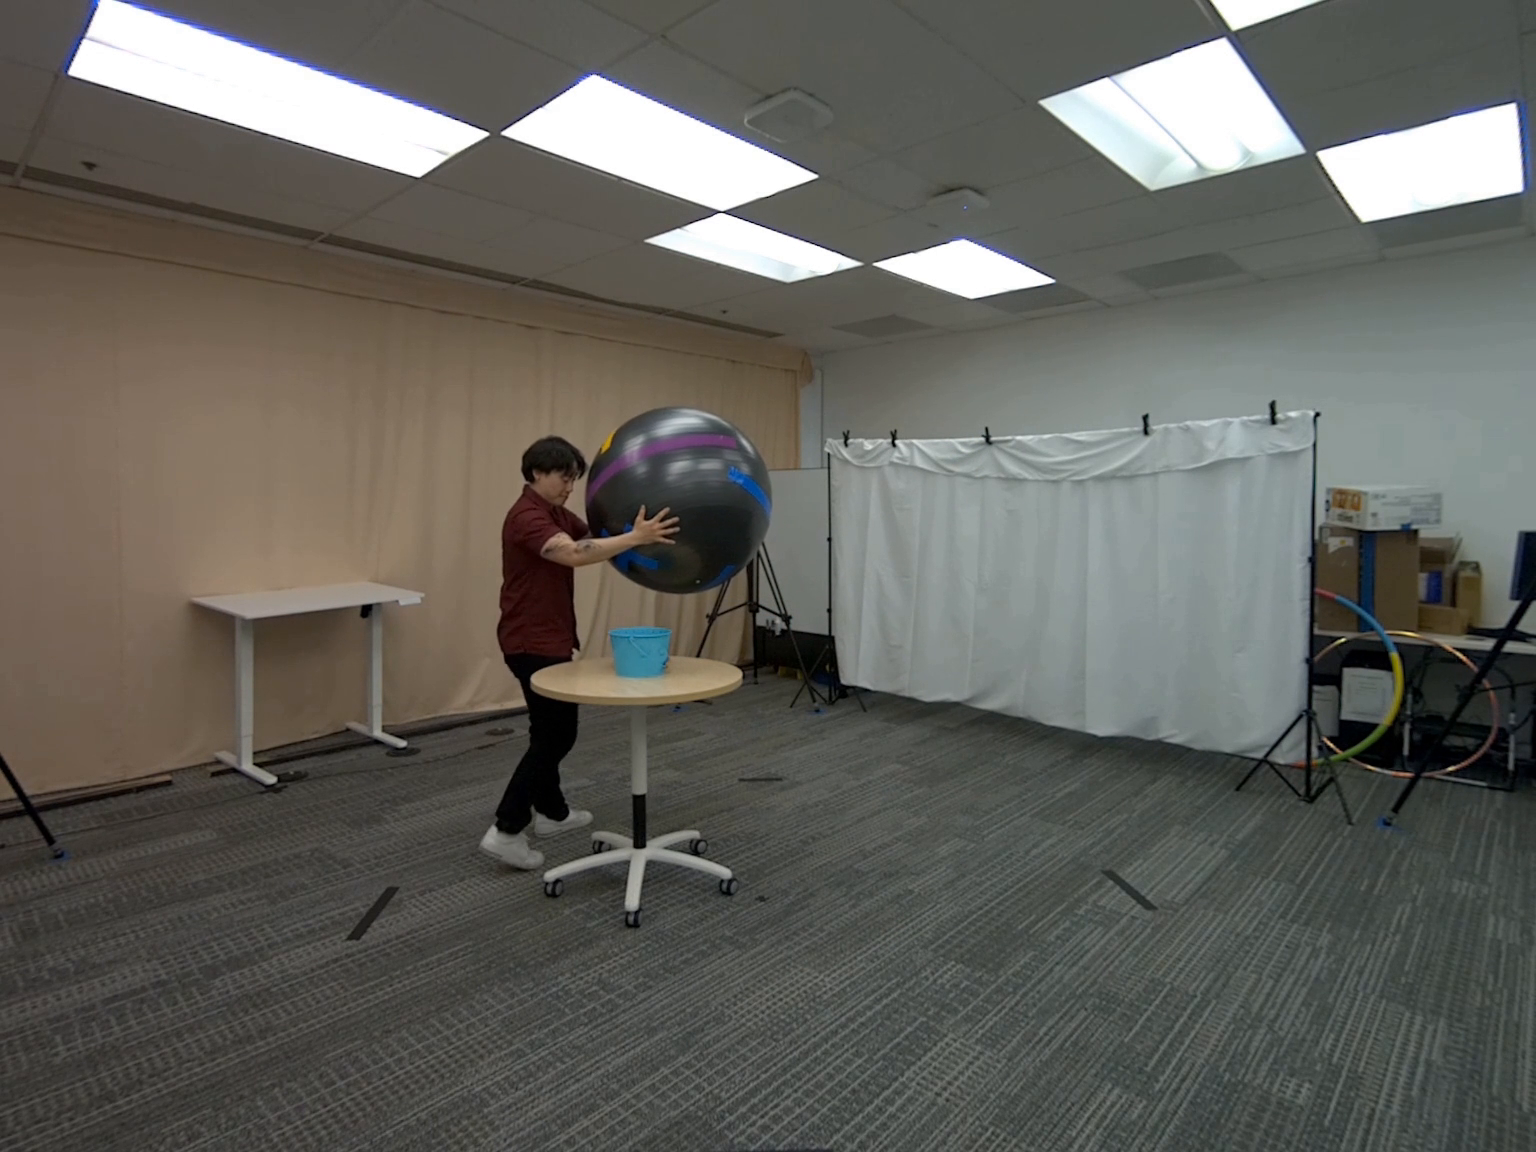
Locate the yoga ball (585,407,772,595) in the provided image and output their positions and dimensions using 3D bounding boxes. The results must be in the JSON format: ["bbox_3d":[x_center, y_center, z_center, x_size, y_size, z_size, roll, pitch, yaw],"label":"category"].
[{"bbox_3d":[-0.369,-0.297,3.432,0.757,0.756,0.761,0,4,-2],"label":"yoga ball"}]
